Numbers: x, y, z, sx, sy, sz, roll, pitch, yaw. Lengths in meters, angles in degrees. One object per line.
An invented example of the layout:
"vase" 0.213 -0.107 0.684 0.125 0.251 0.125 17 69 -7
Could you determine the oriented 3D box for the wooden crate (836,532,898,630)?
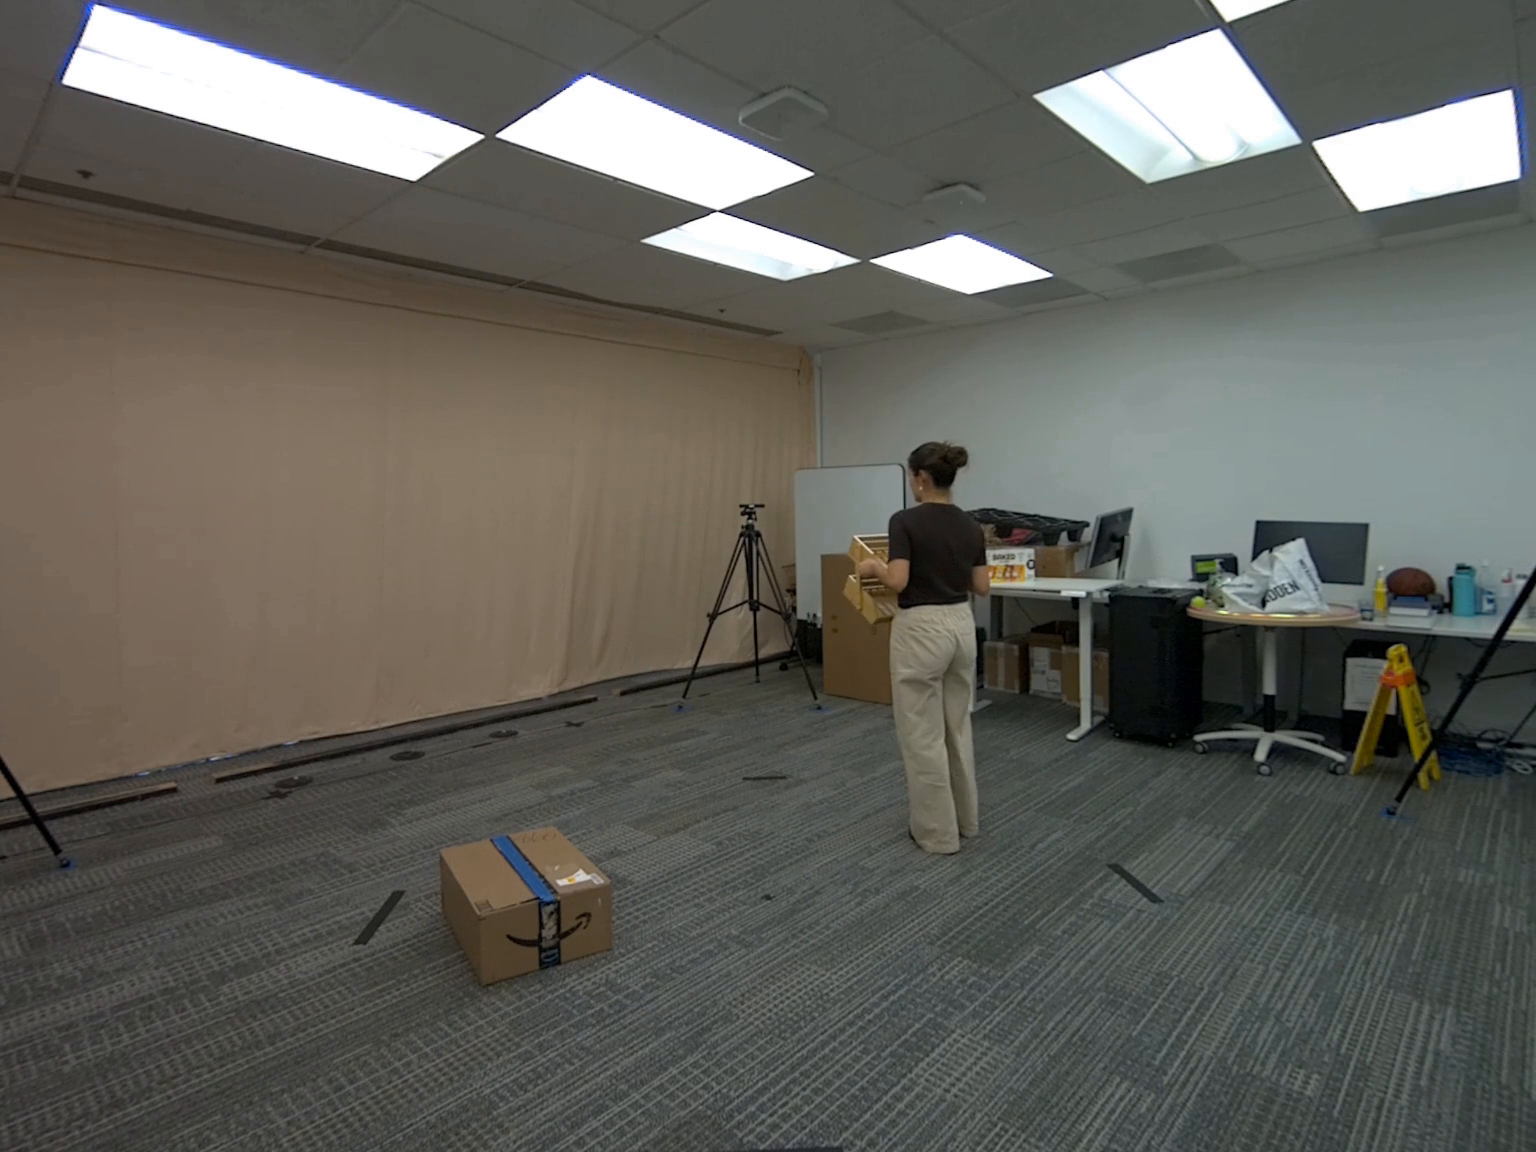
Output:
"wooden crate" 0.532 0.009 3.576 0.316 0.271 0.312 -3 34 -27
